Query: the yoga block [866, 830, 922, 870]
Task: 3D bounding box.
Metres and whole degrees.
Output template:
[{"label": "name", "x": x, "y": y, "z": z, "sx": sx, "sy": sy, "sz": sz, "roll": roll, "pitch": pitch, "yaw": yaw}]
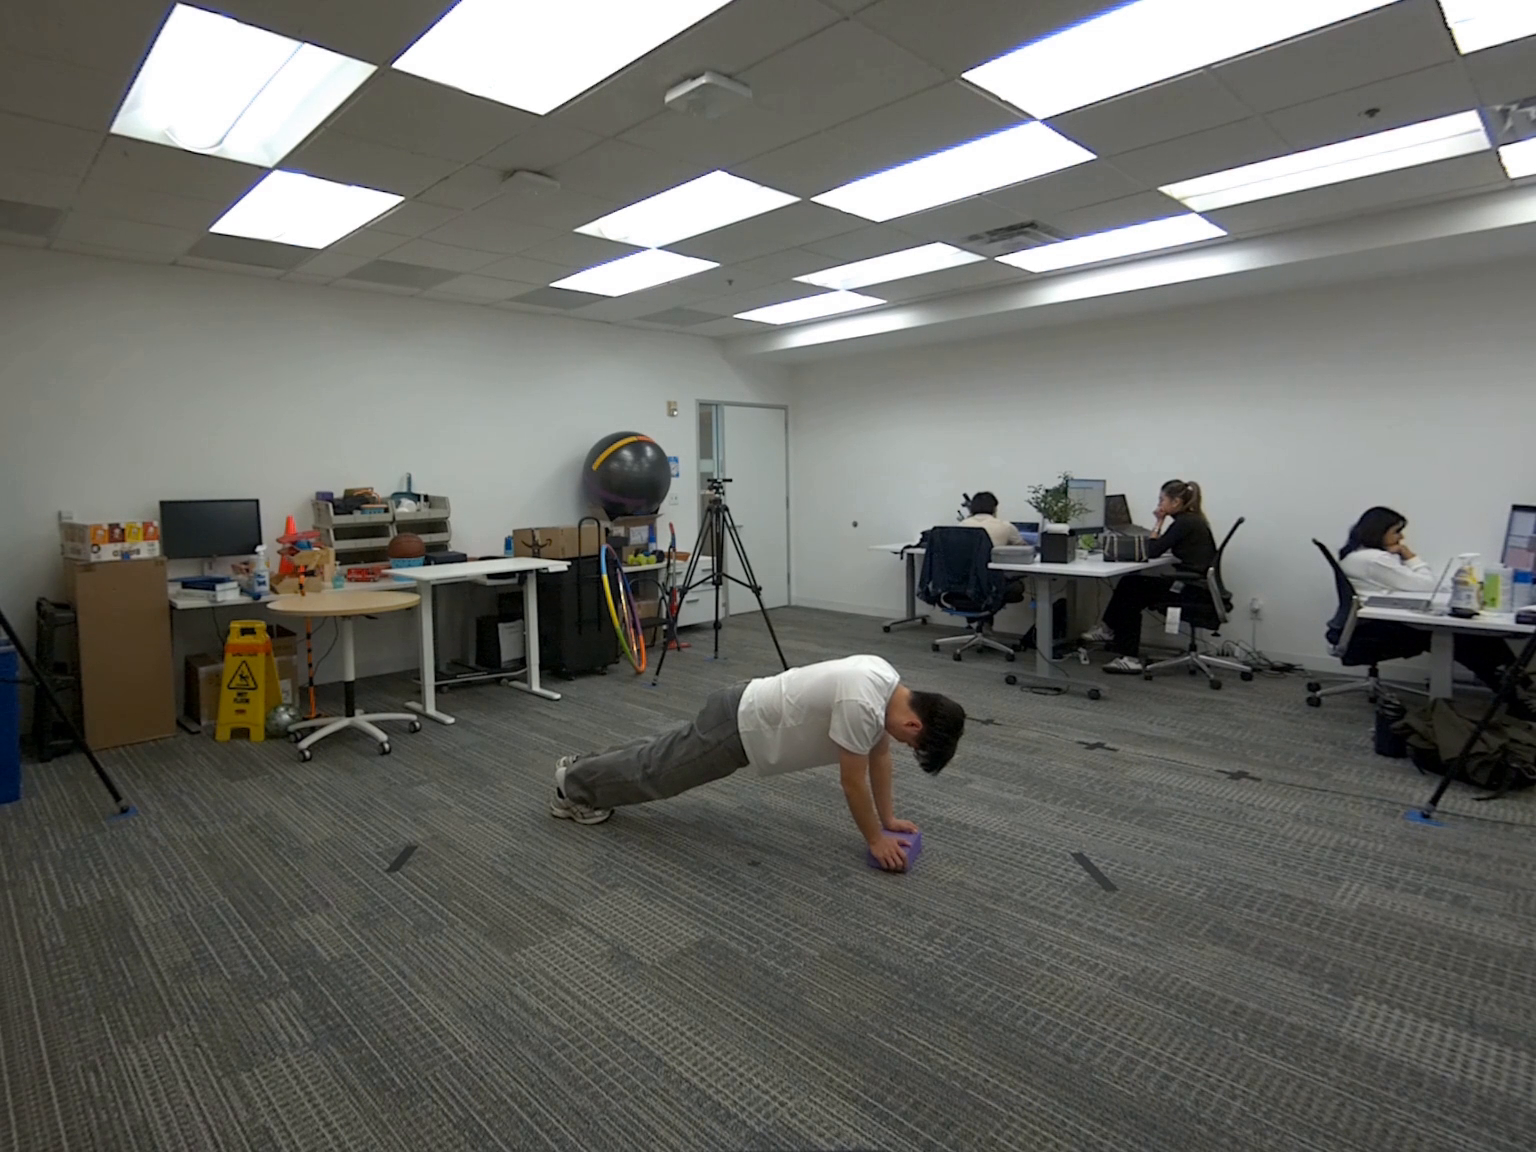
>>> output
[{"label": "yoga block", "x": 0.466, "y": 0.999, "z": 3.142, "sx": 0.152, "sy": 0.076, "sz": 0.225, "roll": 3, "pitch": 6, "yaw": 25}]
